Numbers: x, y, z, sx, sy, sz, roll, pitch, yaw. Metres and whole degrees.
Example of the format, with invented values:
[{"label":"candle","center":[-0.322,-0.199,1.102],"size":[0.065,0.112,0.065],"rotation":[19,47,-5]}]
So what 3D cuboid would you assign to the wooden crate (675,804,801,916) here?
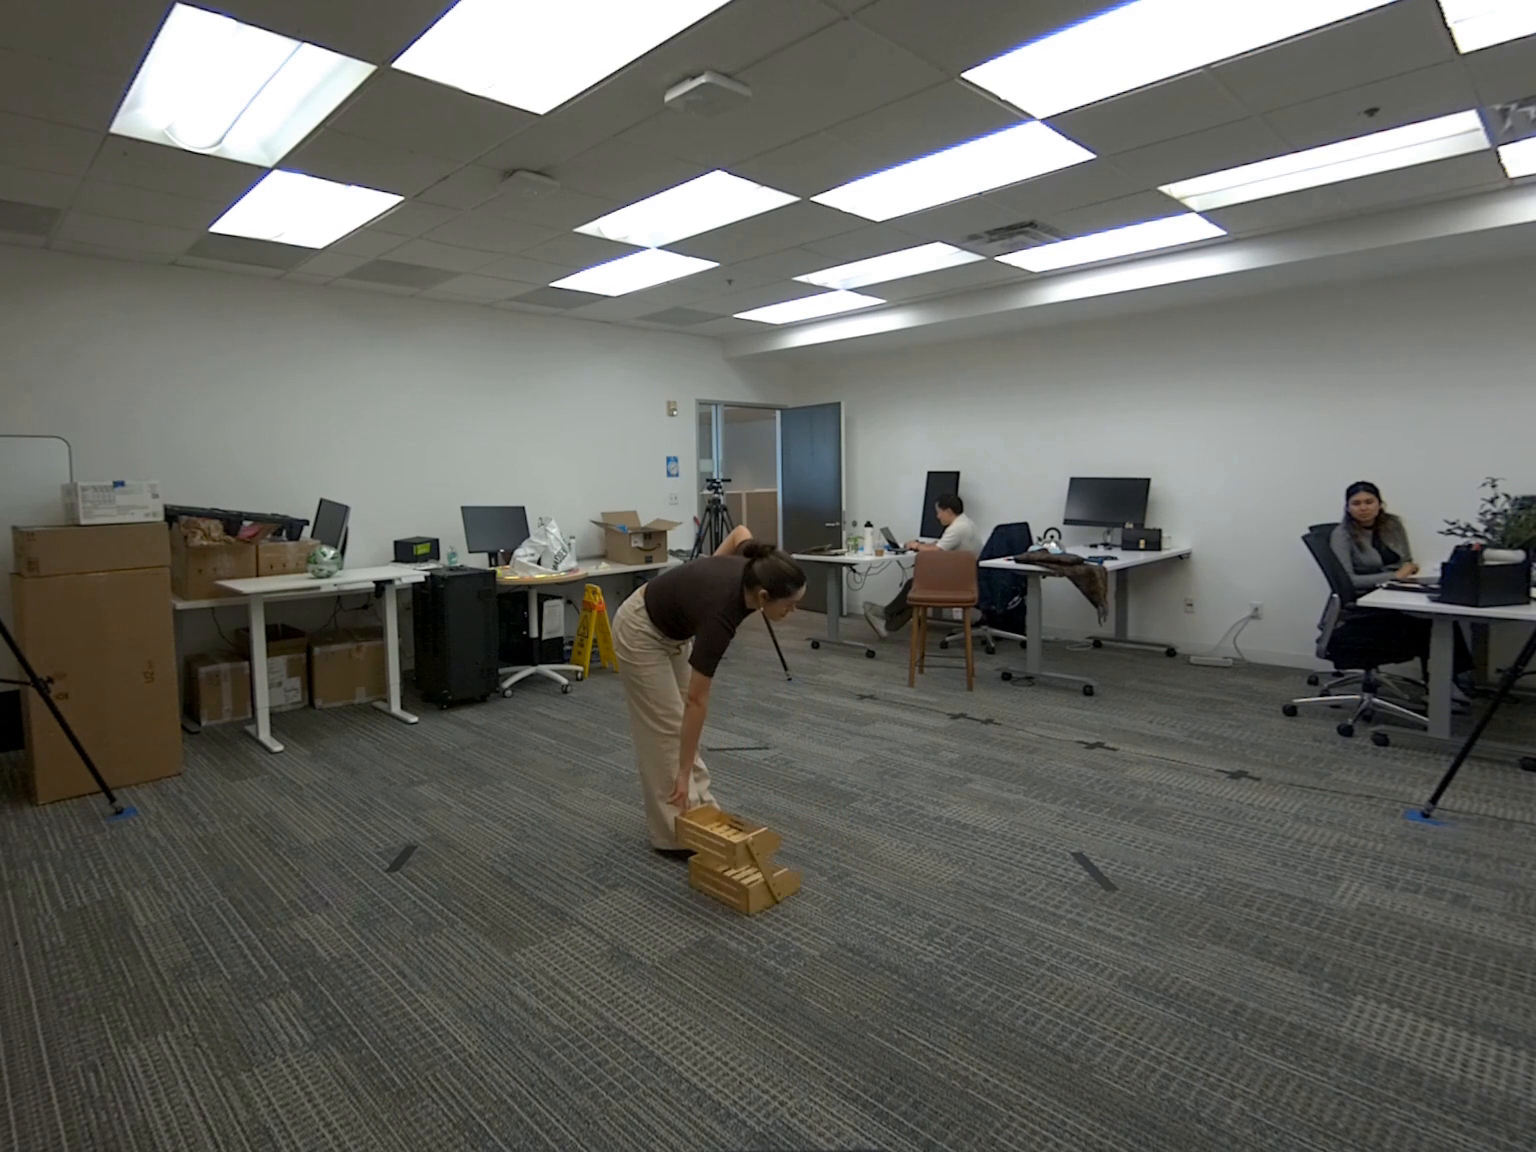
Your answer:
[{"label":"wooden crate","center":[-0.094,0.934,2.897],"size":[0.294,0.272,0.334],"rotation":[-7,8,-44]}]
